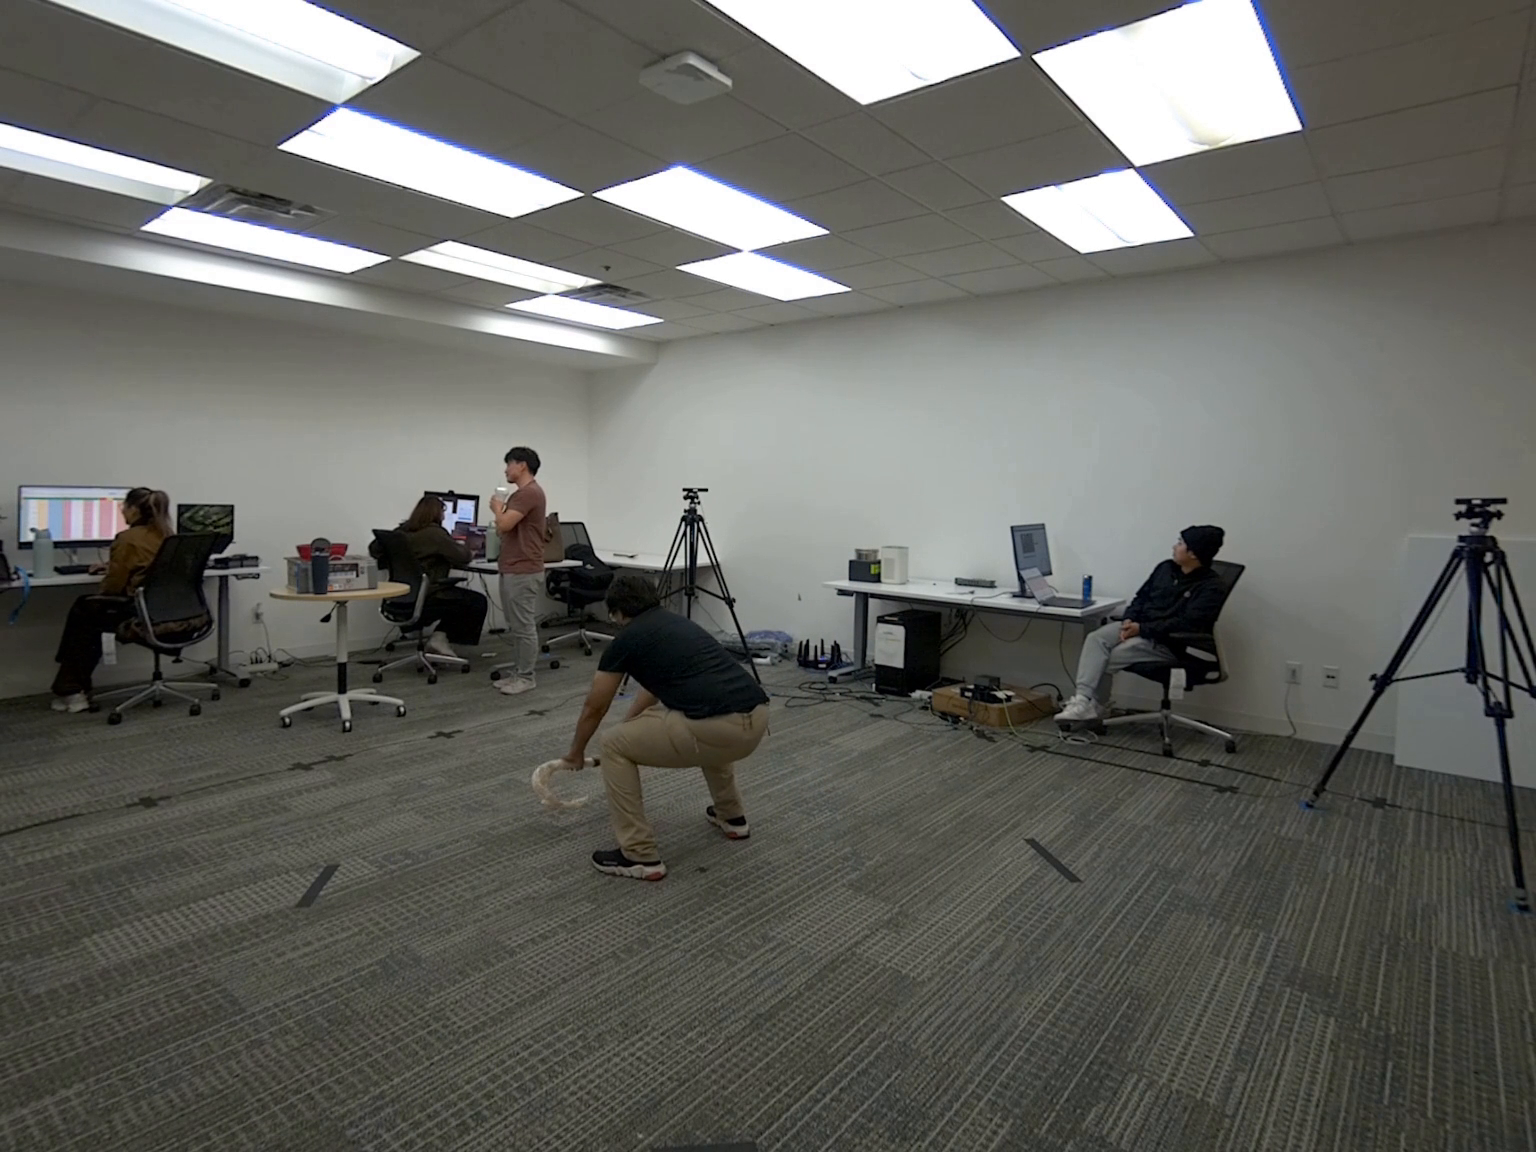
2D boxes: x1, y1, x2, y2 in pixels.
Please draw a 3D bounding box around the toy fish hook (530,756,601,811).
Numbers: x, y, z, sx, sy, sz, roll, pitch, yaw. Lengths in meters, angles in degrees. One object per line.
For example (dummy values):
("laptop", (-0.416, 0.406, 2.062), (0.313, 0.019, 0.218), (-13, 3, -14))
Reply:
("toy fish hook", (-0.769, 0.839, 3.552), (0.493, 0.231, 0.048), (-11, -29, -47))
